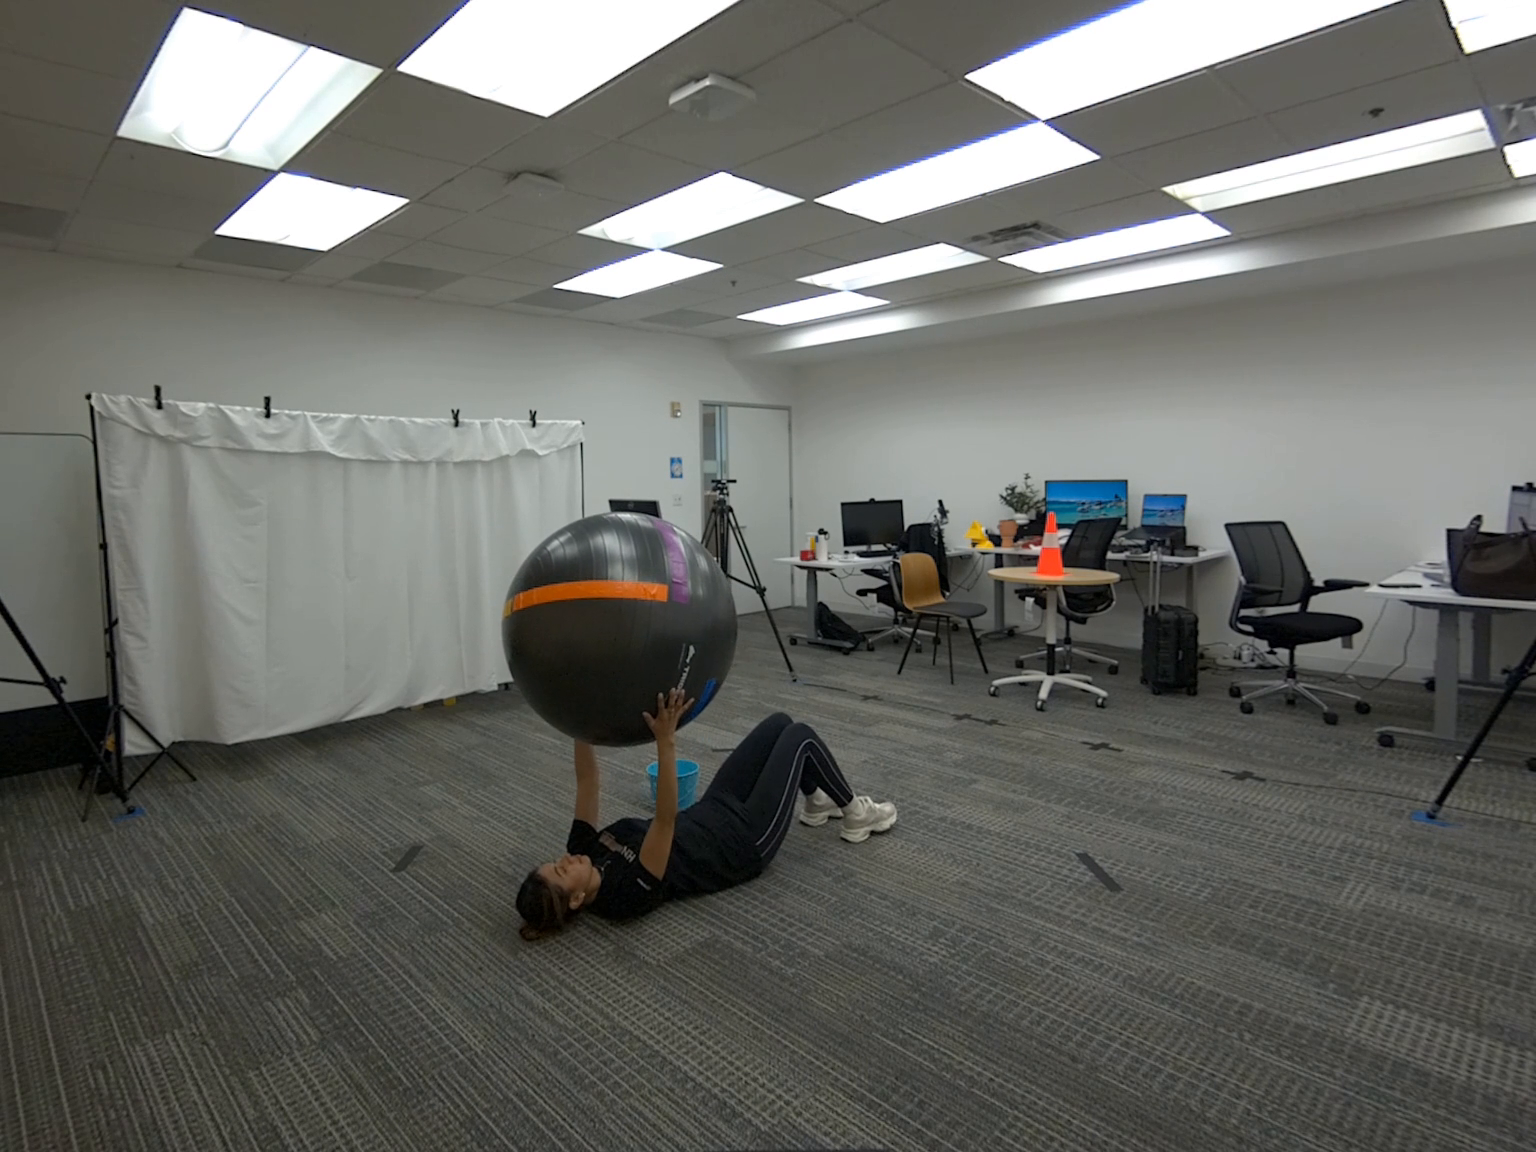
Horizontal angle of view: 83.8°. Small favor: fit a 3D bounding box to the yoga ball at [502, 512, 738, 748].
[{"bbox_3d":[-0.479,0.173,2.792,0.757,0.757,0.759,0,1,-2],"label":"yoga ball"}]
